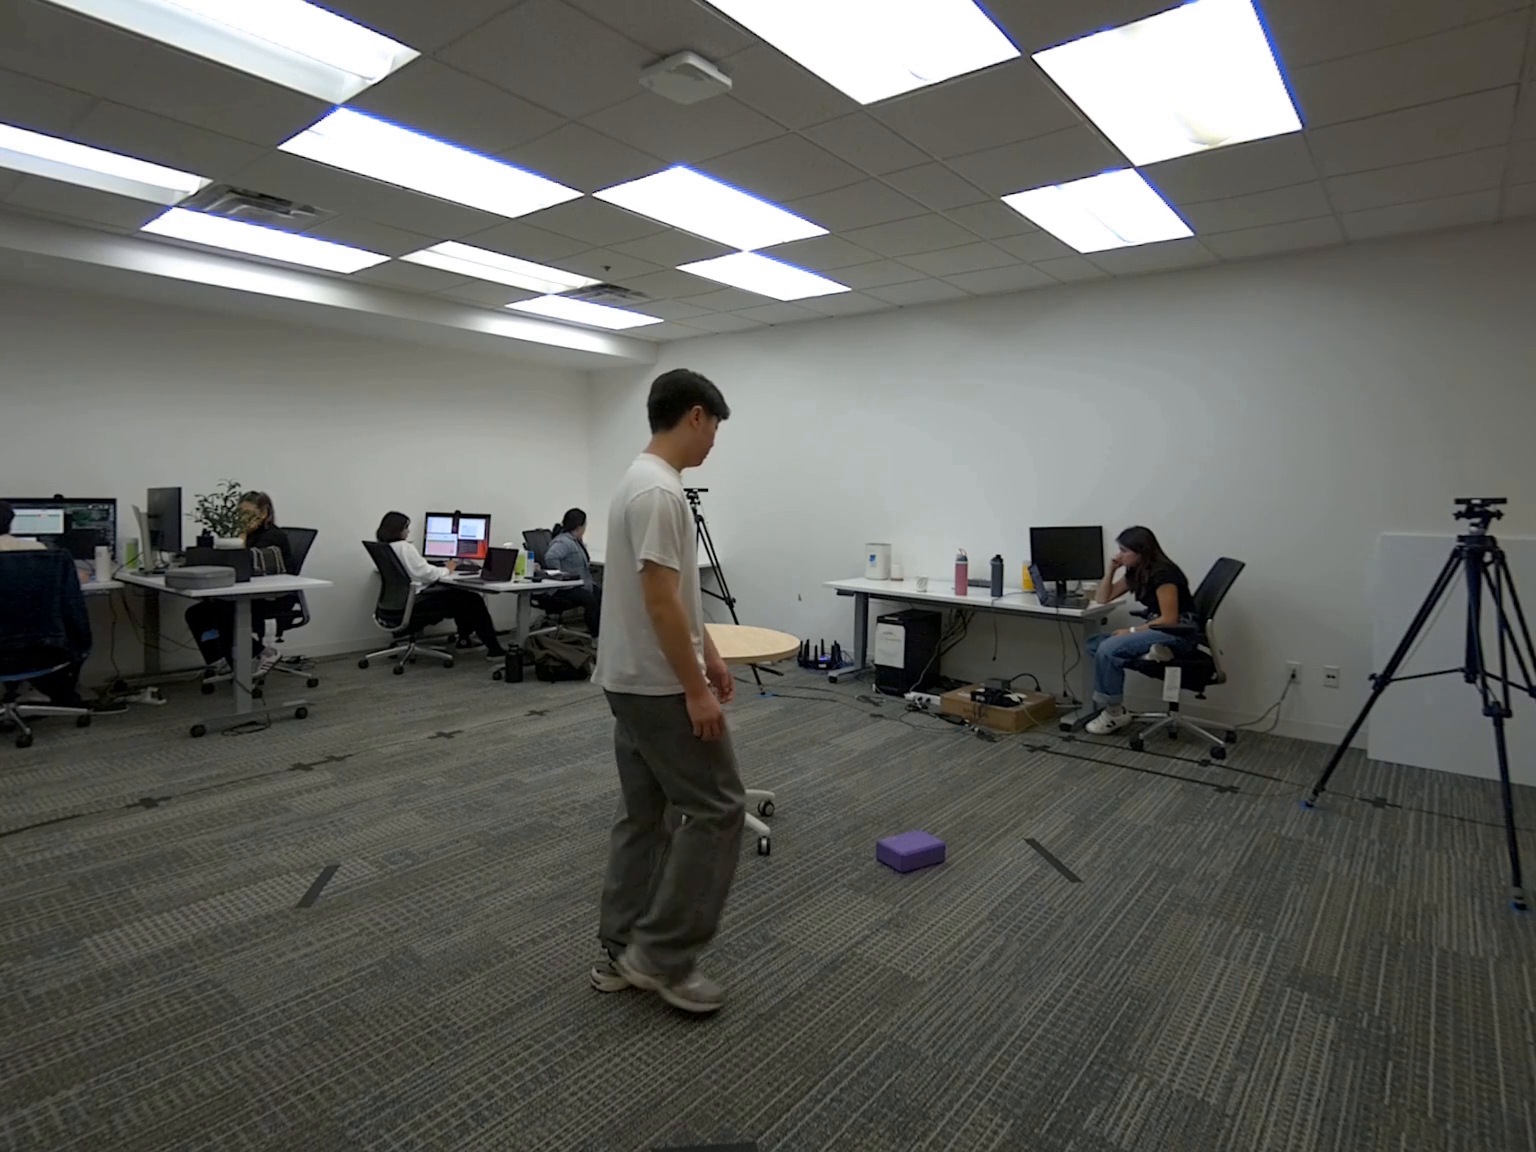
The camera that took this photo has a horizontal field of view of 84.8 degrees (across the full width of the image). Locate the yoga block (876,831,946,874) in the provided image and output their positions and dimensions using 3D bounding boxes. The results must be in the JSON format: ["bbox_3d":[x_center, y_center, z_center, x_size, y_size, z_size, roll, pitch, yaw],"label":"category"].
[{"bbox_3d":[0.546,1.030,3.223,0.223,0.076,0.154,-2,6,-32],"label":"yoga block"}]
